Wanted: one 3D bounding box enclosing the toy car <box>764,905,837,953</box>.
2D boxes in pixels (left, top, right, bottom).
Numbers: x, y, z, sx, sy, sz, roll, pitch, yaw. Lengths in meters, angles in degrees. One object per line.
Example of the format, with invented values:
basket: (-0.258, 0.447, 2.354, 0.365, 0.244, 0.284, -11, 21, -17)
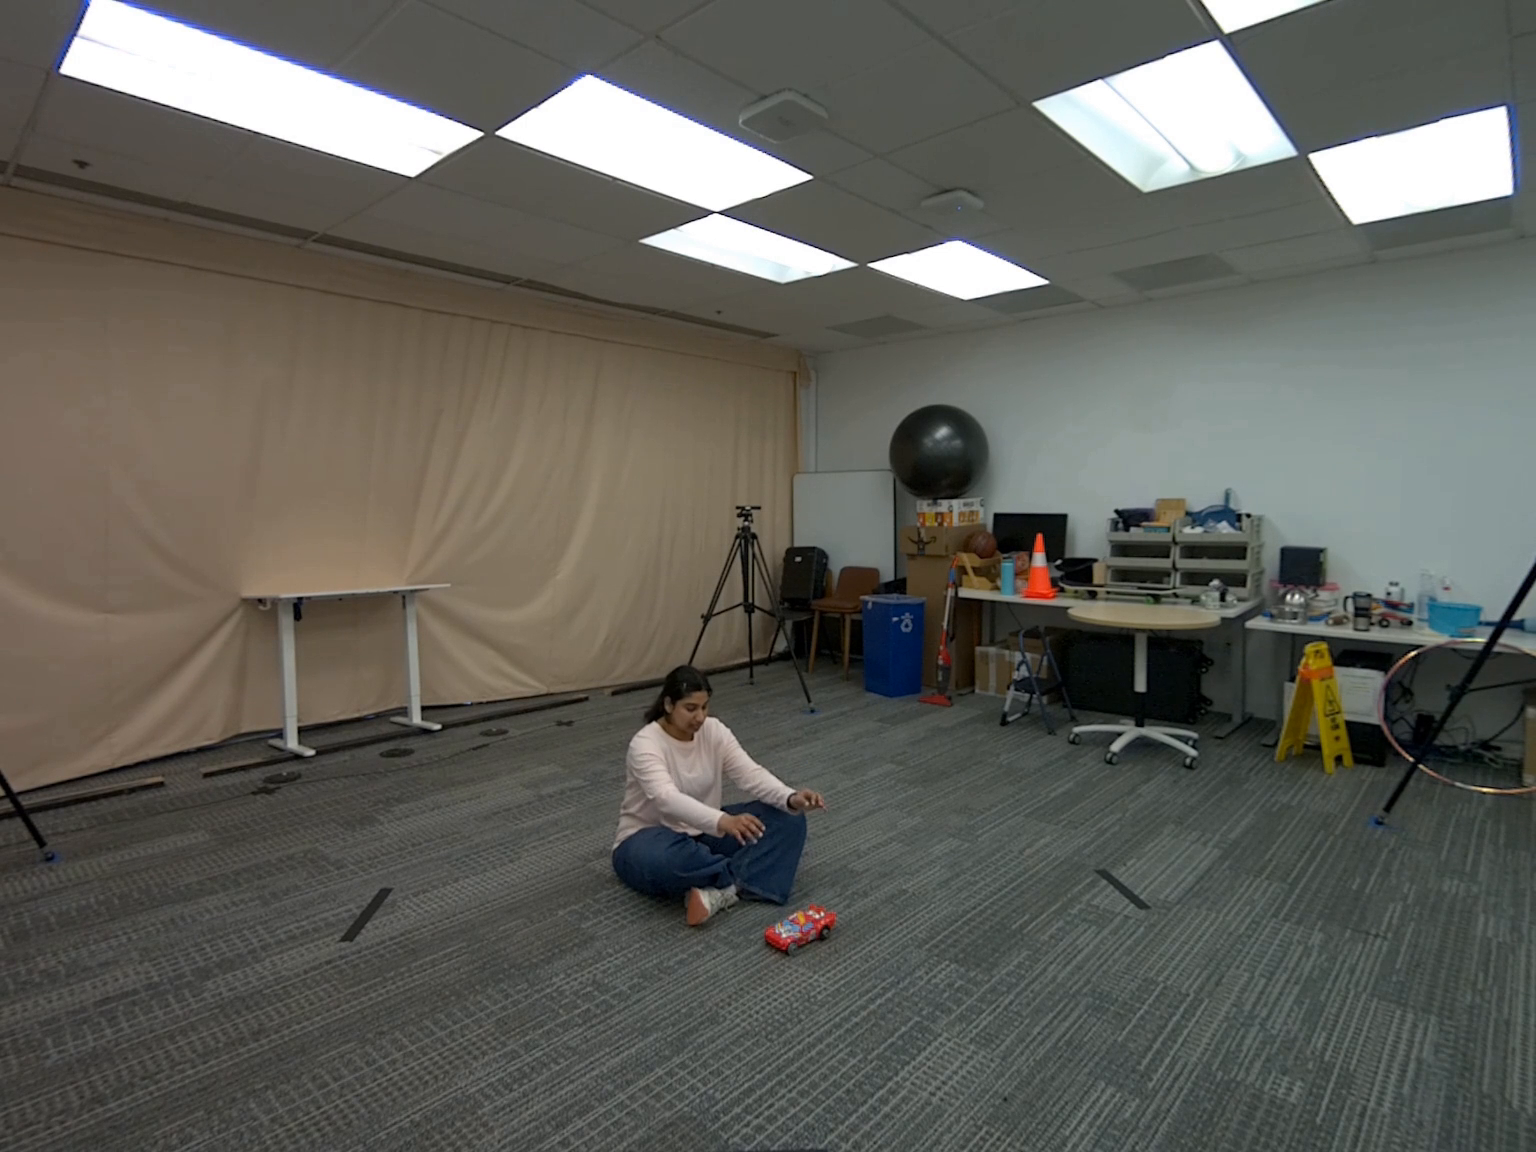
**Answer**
toy car: (0.116, 1.128, 2.706, 0.248, 0.082, 0.134, -17, 14, -37)
